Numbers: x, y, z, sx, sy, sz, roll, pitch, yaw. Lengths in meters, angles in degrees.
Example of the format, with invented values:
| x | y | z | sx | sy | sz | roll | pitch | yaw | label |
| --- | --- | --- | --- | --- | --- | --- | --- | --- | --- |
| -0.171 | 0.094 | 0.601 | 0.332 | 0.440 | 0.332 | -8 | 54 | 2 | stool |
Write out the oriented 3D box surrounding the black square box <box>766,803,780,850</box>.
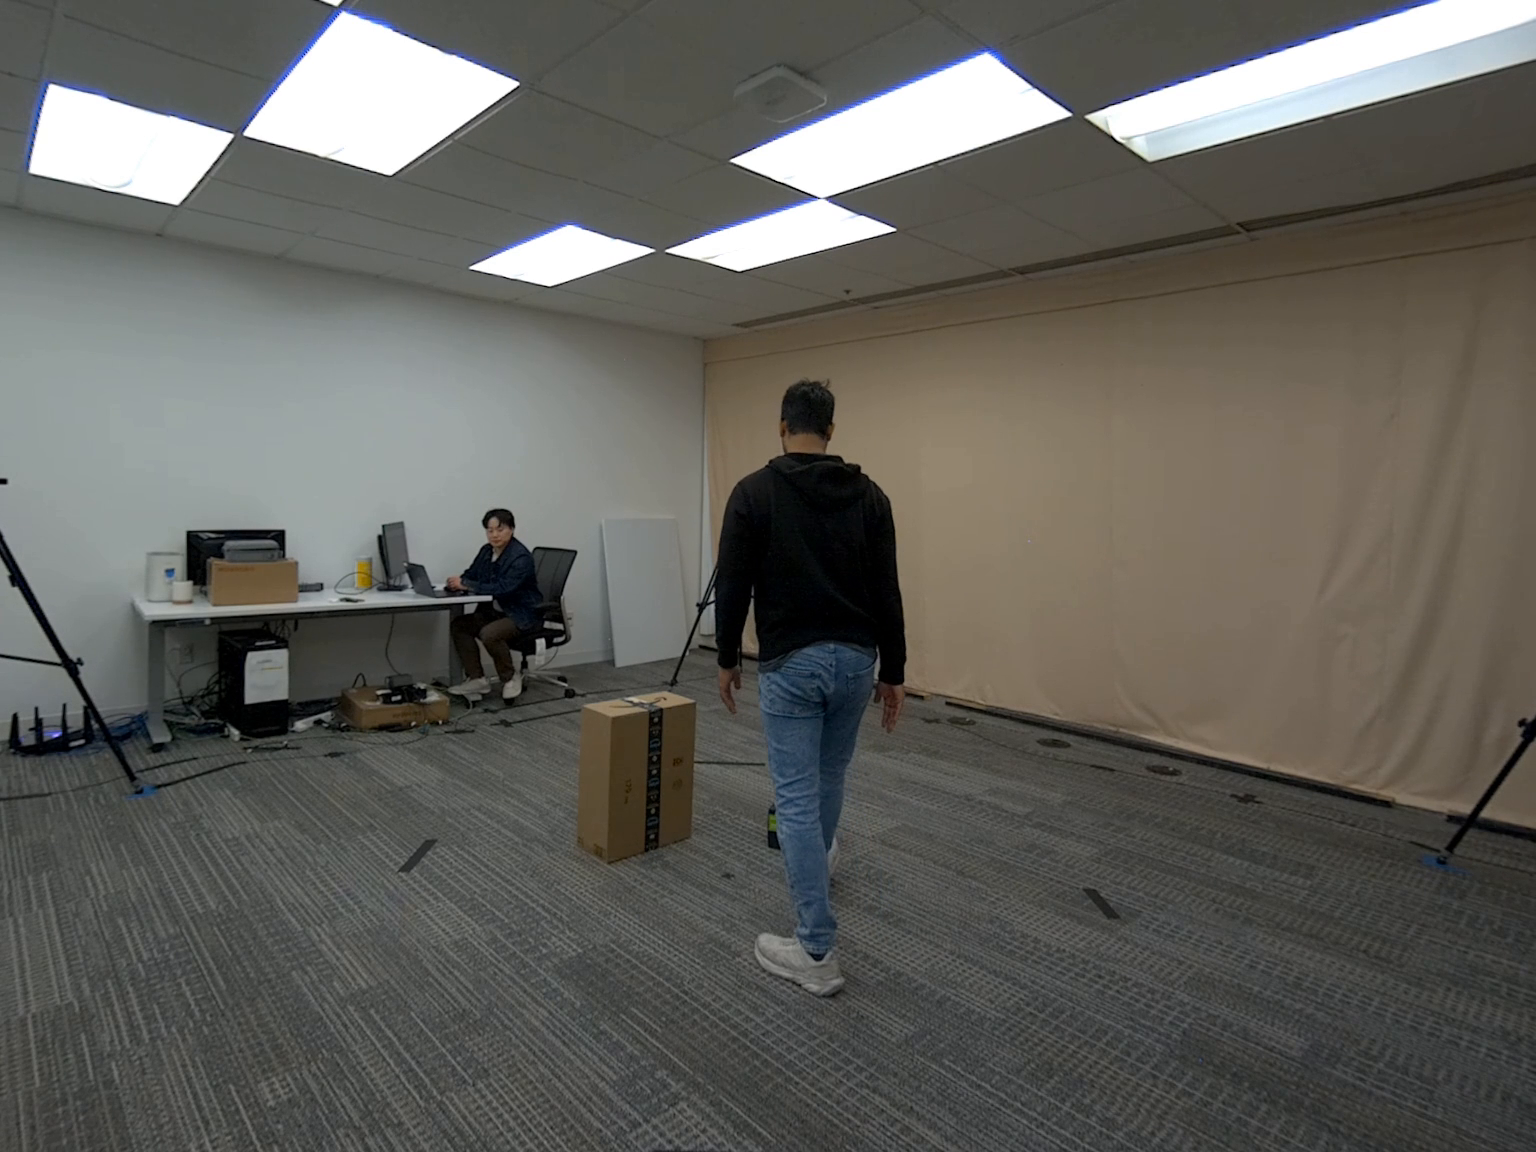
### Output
| x | y | z | sx | sy | sz | roll | pitch | yaw | label |
| --- | --- | --- | --- | --- | --- | --- | --- | --- | --- |
| 0.133 | 1.004 | 3.429 | 0.231 | 0.155 | 0.214 | 4 | 5 | 17 | black square box |
